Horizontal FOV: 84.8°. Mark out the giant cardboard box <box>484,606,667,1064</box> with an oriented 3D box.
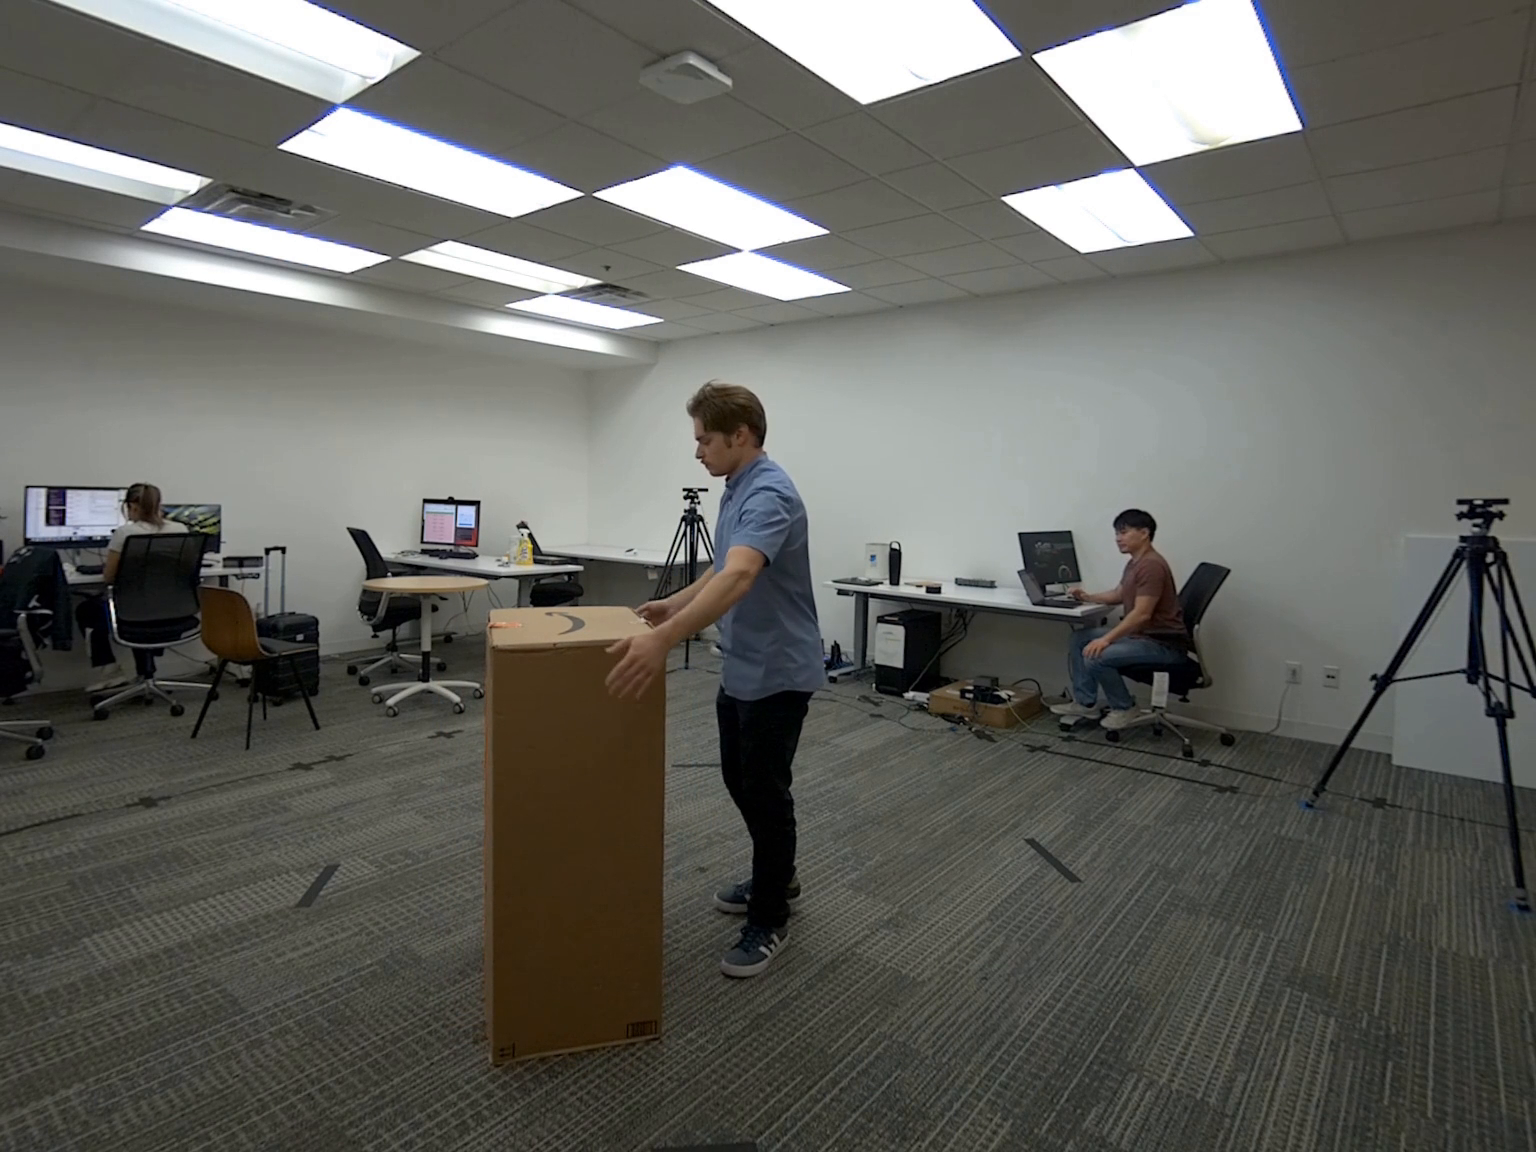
[{"bbox_3d":[-0.557,0.634,2.327,0.419,1.023,0.590,0,4,-18],"label":"giant cardboard box"}]
